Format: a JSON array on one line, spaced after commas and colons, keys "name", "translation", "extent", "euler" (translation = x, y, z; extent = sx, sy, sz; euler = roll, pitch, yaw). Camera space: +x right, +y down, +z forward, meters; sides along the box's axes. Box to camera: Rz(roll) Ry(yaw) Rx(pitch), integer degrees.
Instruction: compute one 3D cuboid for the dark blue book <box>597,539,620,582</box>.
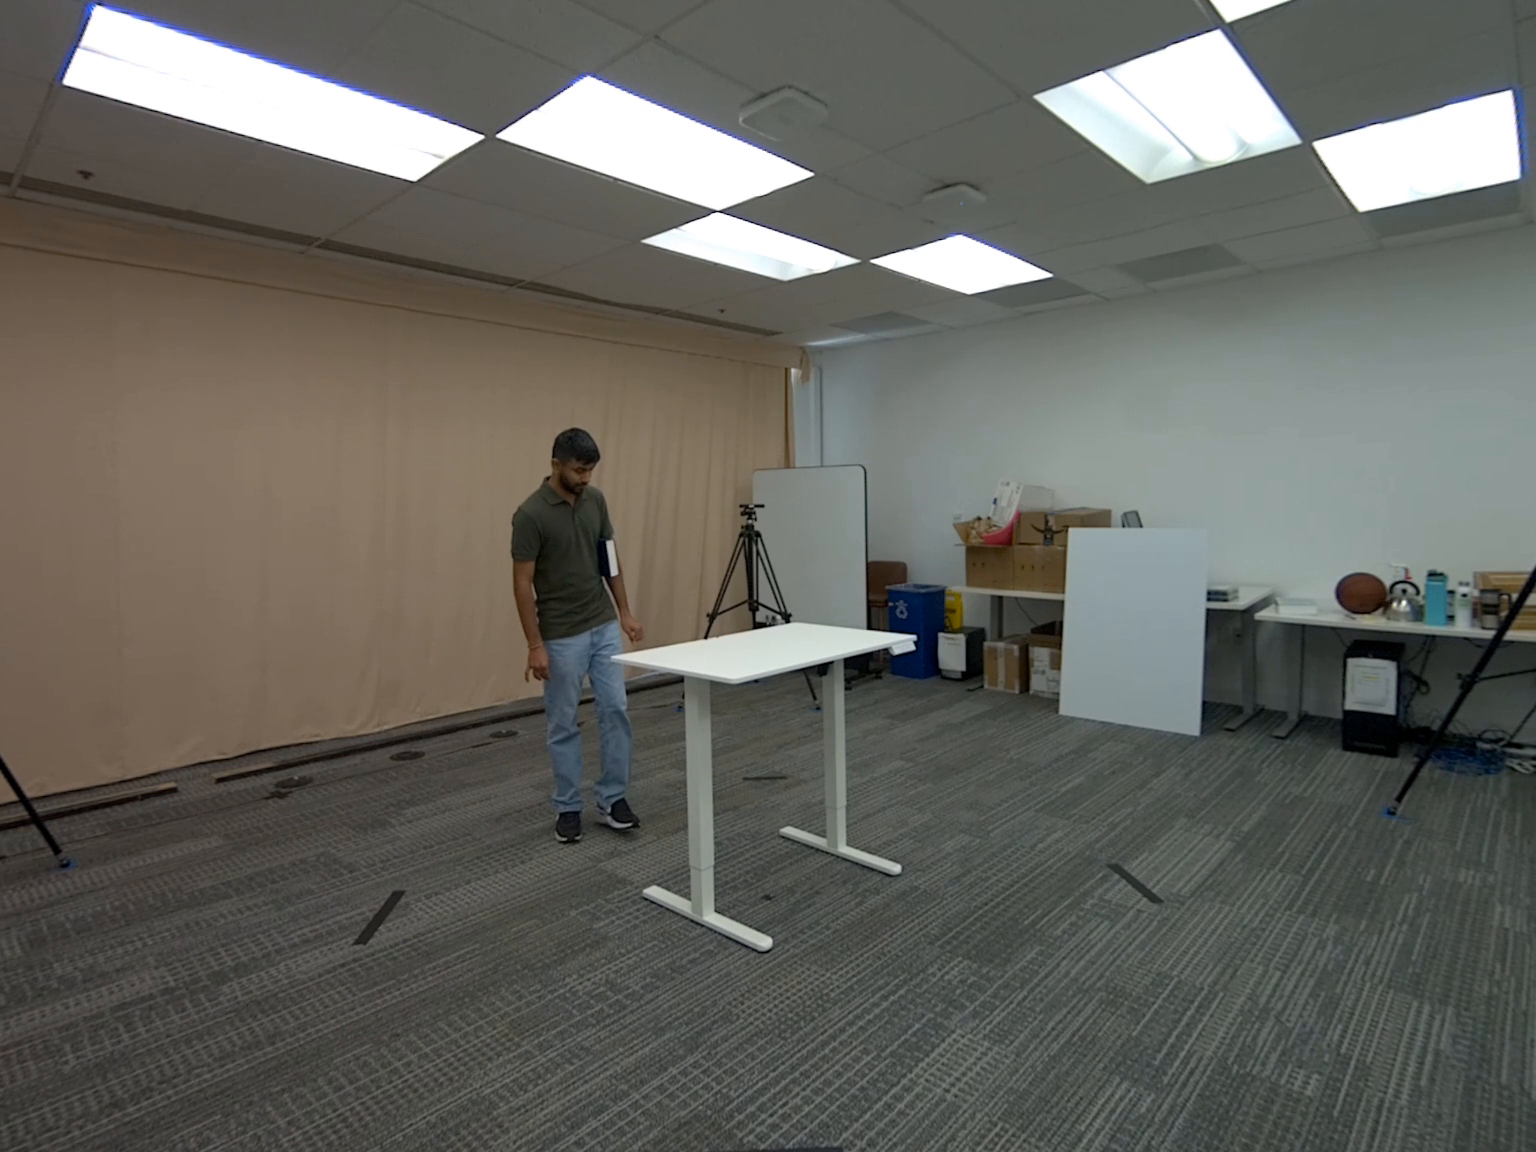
[{"name": "dark blue book", "translation": [-0.744, -0.078, 3.712], "extent": [0.044, 0.162, 0.253], "euler": [-15, 11, -40]}]
